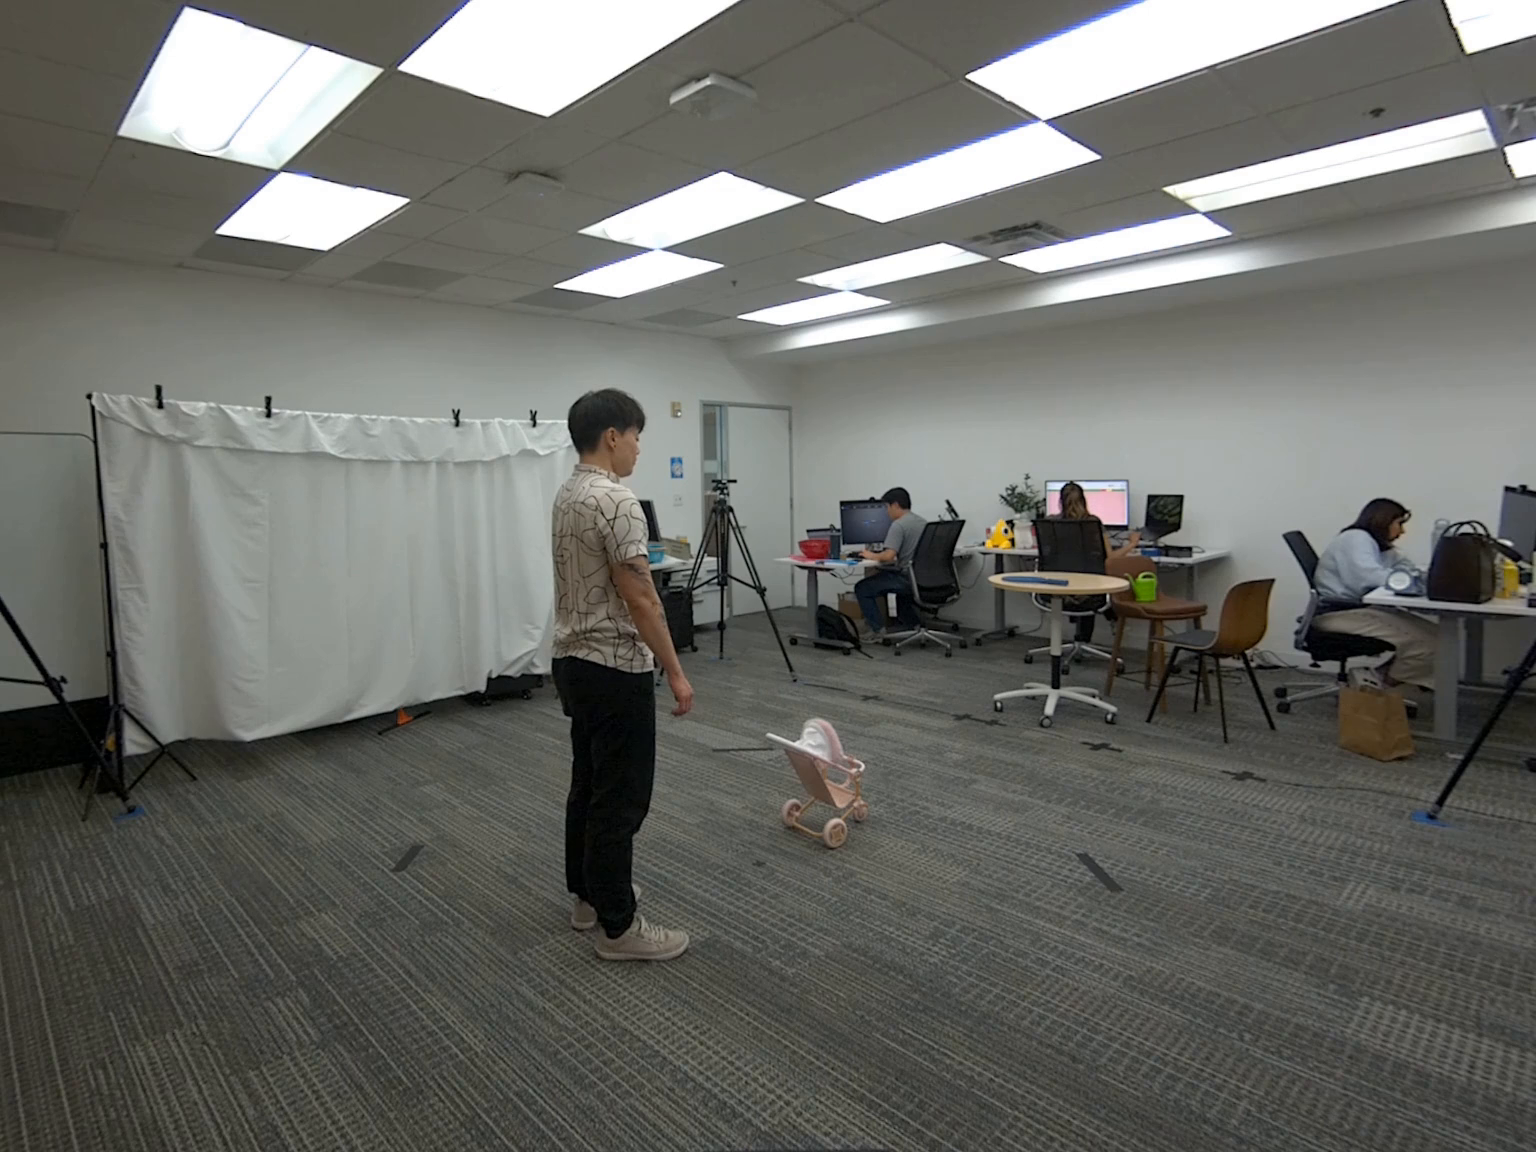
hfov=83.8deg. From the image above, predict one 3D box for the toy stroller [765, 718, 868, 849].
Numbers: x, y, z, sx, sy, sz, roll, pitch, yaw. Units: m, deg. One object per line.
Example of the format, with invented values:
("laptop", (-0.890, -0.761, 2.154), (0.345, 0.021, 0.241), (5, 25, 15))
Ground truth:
("toy stroller", (0.221, 0.790, 3.360), (0.336, 0.527, 0.289), (-23, 15, -30))
